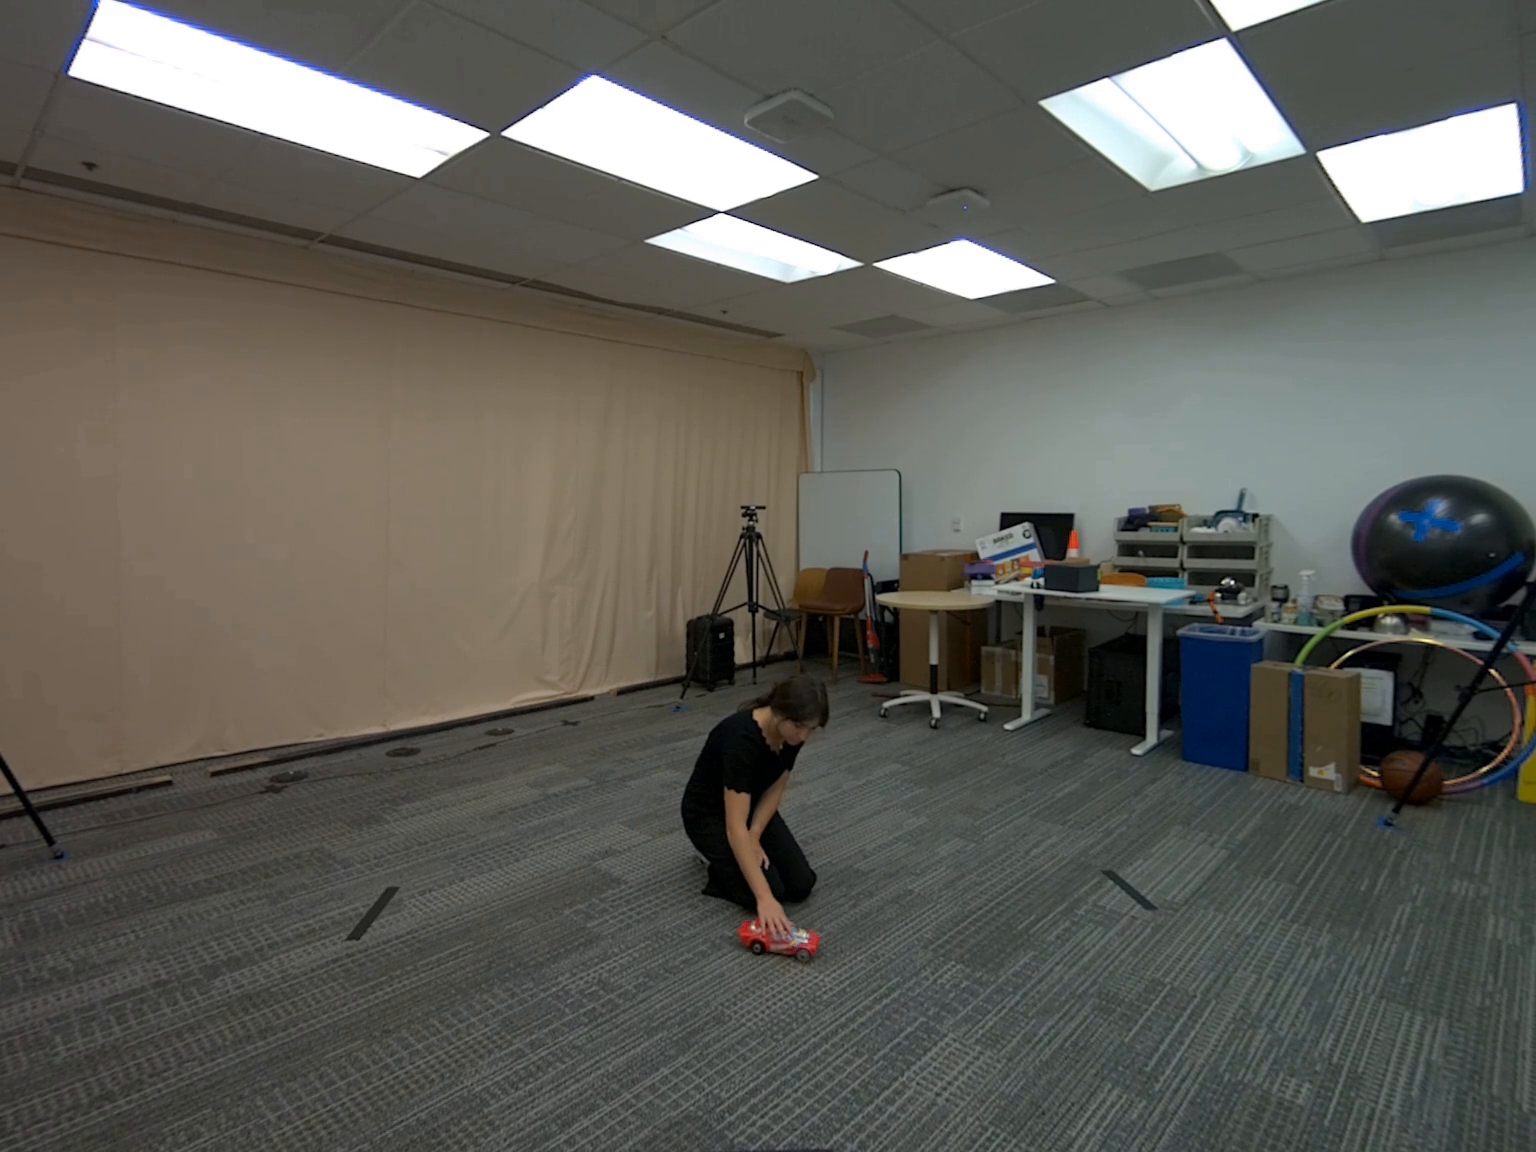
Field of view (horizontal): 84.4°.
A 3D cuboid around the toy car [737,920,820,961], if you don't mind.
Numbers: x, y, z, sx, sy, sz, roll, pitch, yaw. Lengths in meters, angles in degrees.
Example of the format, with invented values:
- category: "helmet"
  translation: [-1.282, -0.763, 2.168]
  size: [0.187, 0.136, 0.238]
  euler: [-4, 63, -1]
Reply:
- category: "toy car"
  translation: [0.033, 1.138, 2.649]
  size: [0.259, 0.083, 0.128]
  euler: [13, 9, 15]
